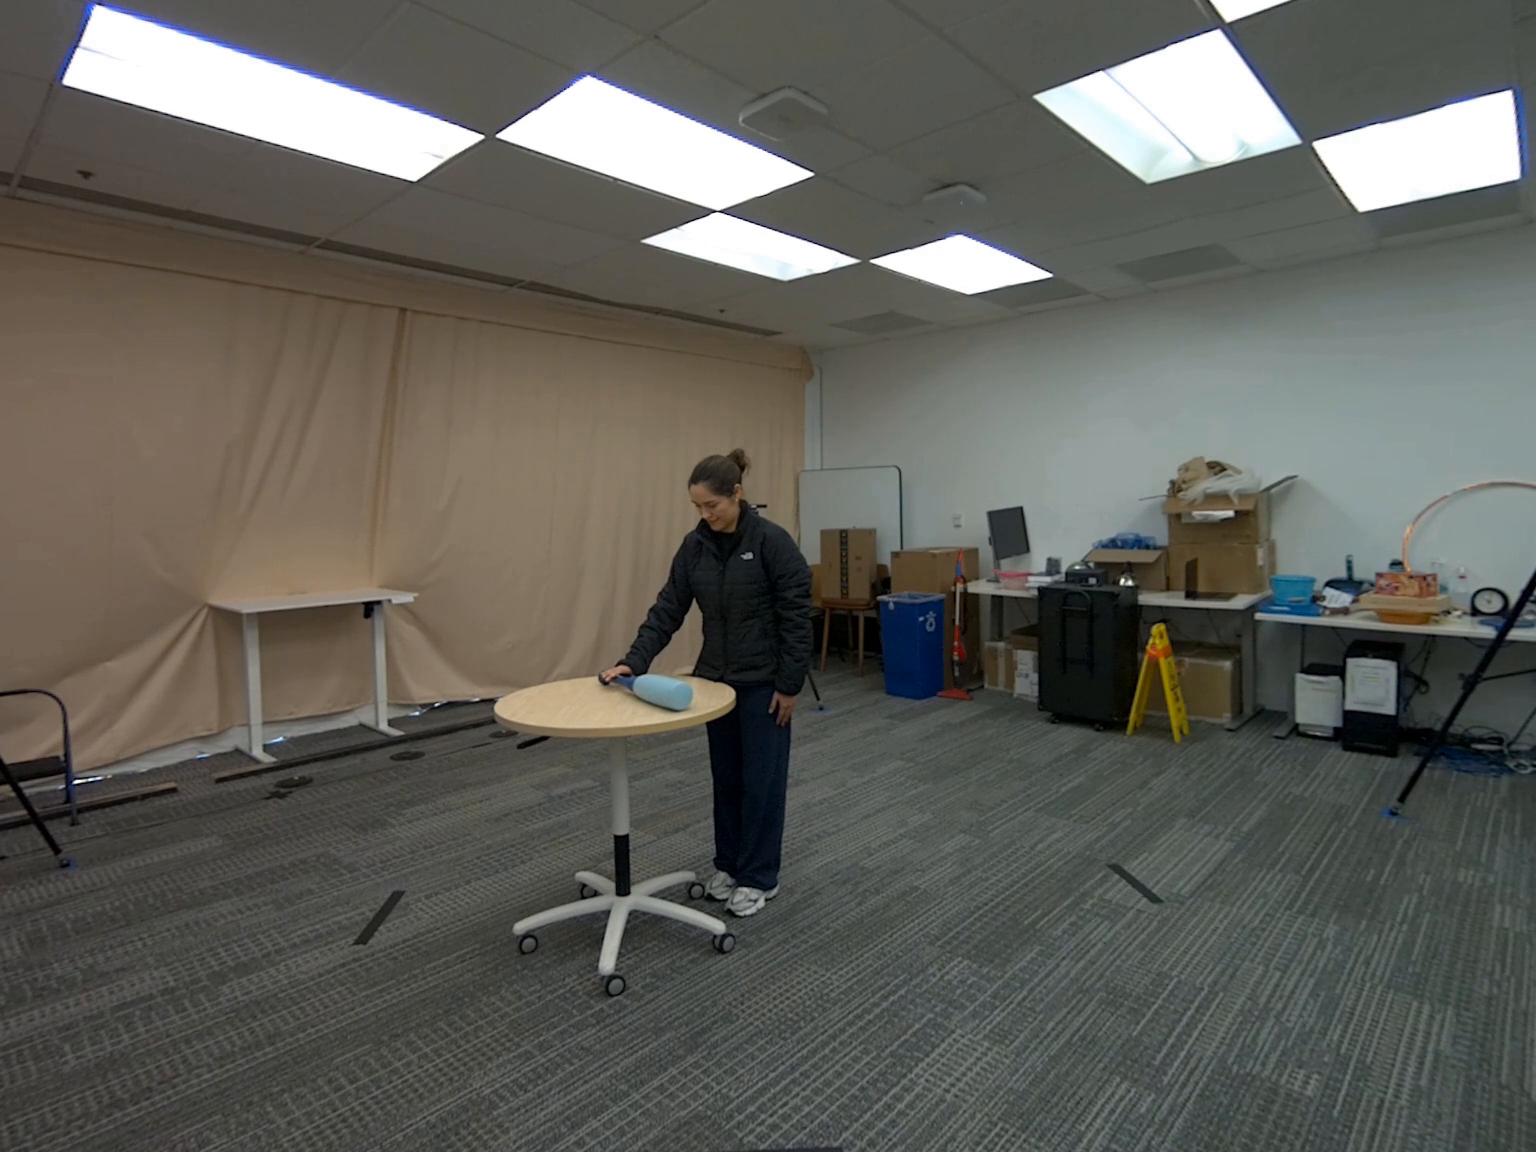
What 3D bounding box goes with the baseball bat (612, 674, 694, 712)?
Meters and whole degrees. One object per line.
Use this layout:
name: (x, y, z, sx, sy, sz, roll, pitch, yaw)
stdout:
baseball bat: (-0.392, 0.353, 2.698, 0.086, 0.089, 0.559, -4, 2, -37)
